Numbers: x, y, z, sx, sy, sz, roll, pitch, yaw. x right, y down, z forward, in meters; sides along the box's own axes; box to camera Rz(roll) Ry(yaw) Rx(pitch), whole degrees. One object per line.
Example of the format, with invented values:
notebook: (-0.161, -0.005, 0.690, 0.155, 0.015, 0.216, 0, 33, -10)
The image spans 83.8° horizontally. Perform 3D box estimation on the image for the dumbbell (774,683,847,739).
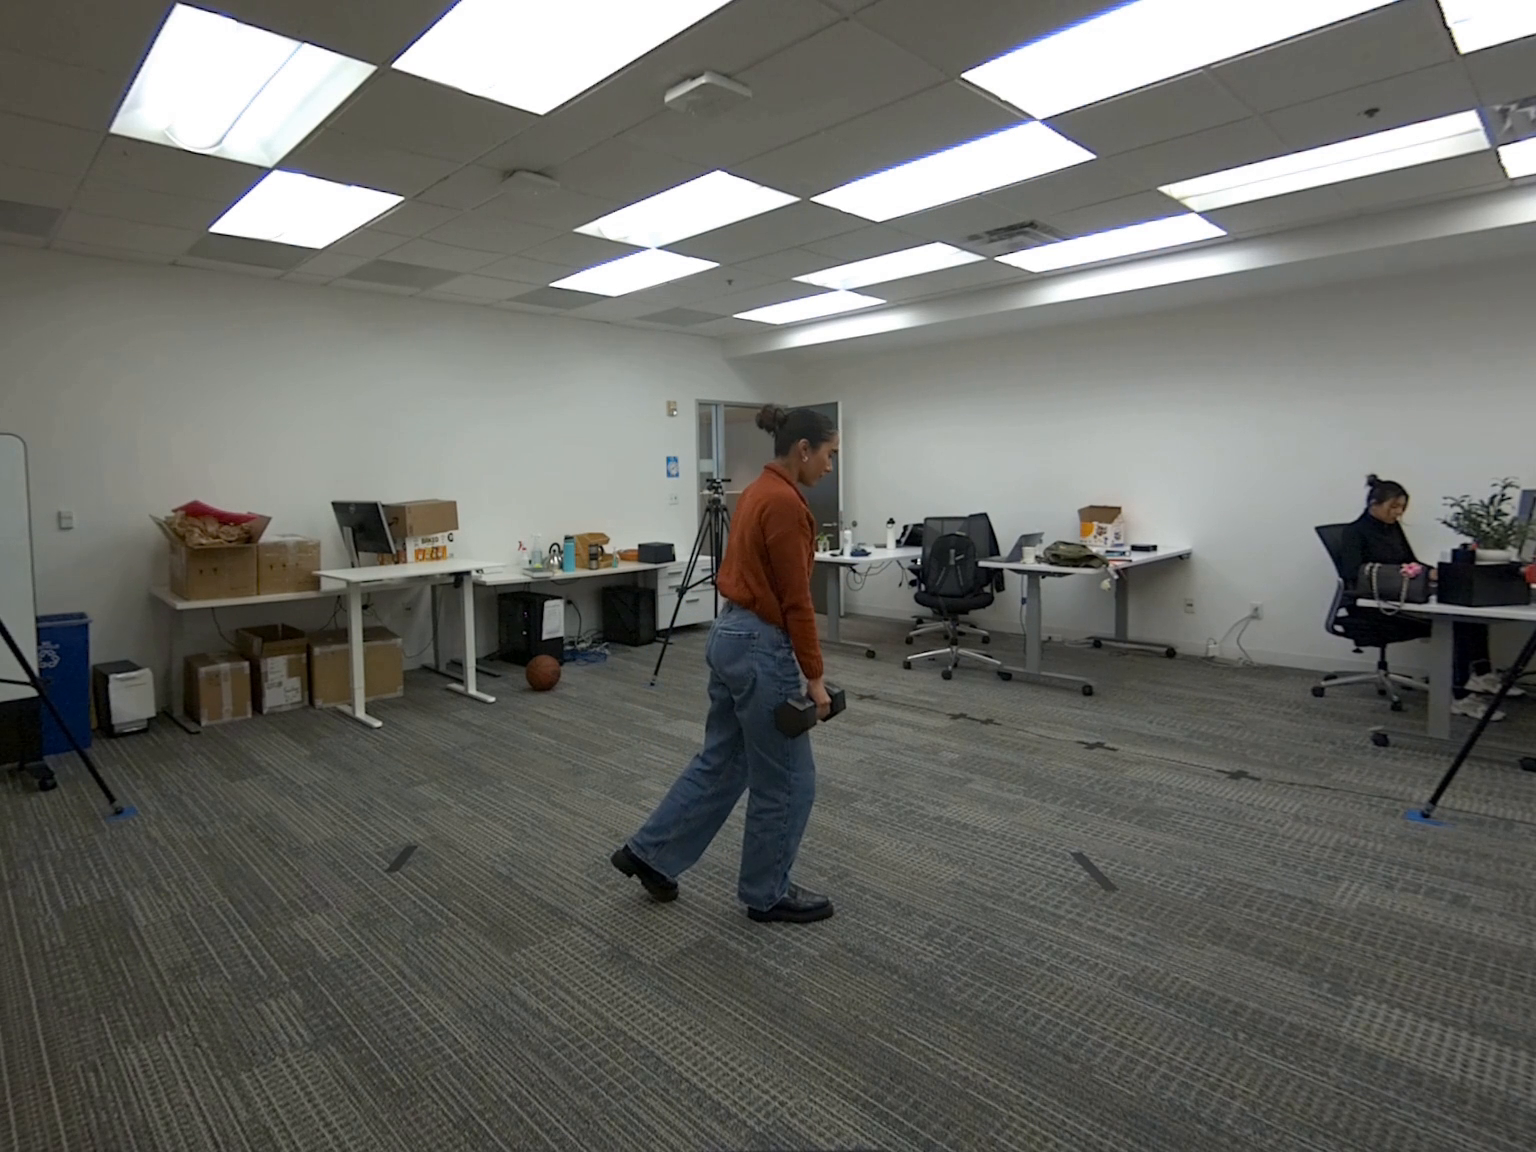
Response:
dumbbell: (0.130, 0.401, 2.581, 0.111, 0.123, 0.287, -8, 1, 32)
